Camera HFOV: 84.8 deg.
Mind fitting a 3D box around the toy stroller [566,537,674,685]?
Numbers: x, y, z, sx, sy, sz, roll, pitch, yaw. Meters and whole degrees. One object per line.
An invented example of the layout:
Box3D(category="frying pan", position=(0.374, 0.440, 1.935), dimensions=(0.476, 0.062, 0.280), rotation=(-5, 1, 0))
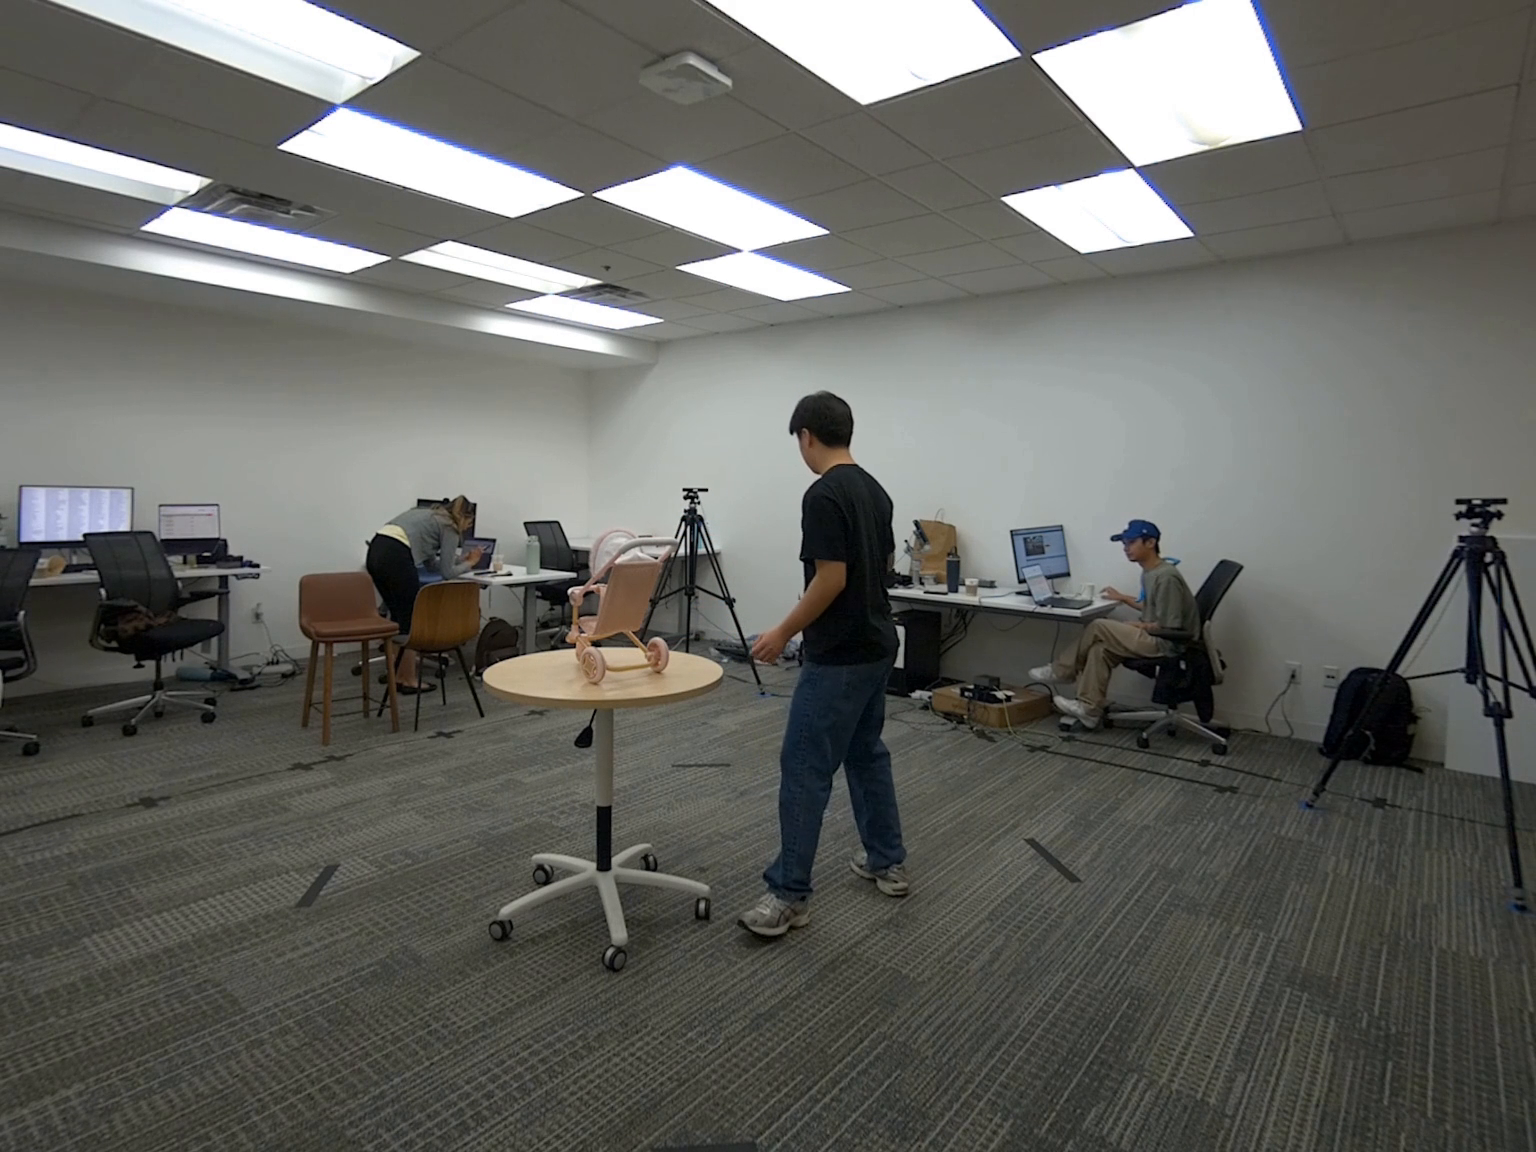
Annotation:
Box3D(category="toy stroller", position=(-0.495, 0.084, 2.696), dimensions=(0.273, 0.529, 0.355), rotation=(-2, 18, -39))
